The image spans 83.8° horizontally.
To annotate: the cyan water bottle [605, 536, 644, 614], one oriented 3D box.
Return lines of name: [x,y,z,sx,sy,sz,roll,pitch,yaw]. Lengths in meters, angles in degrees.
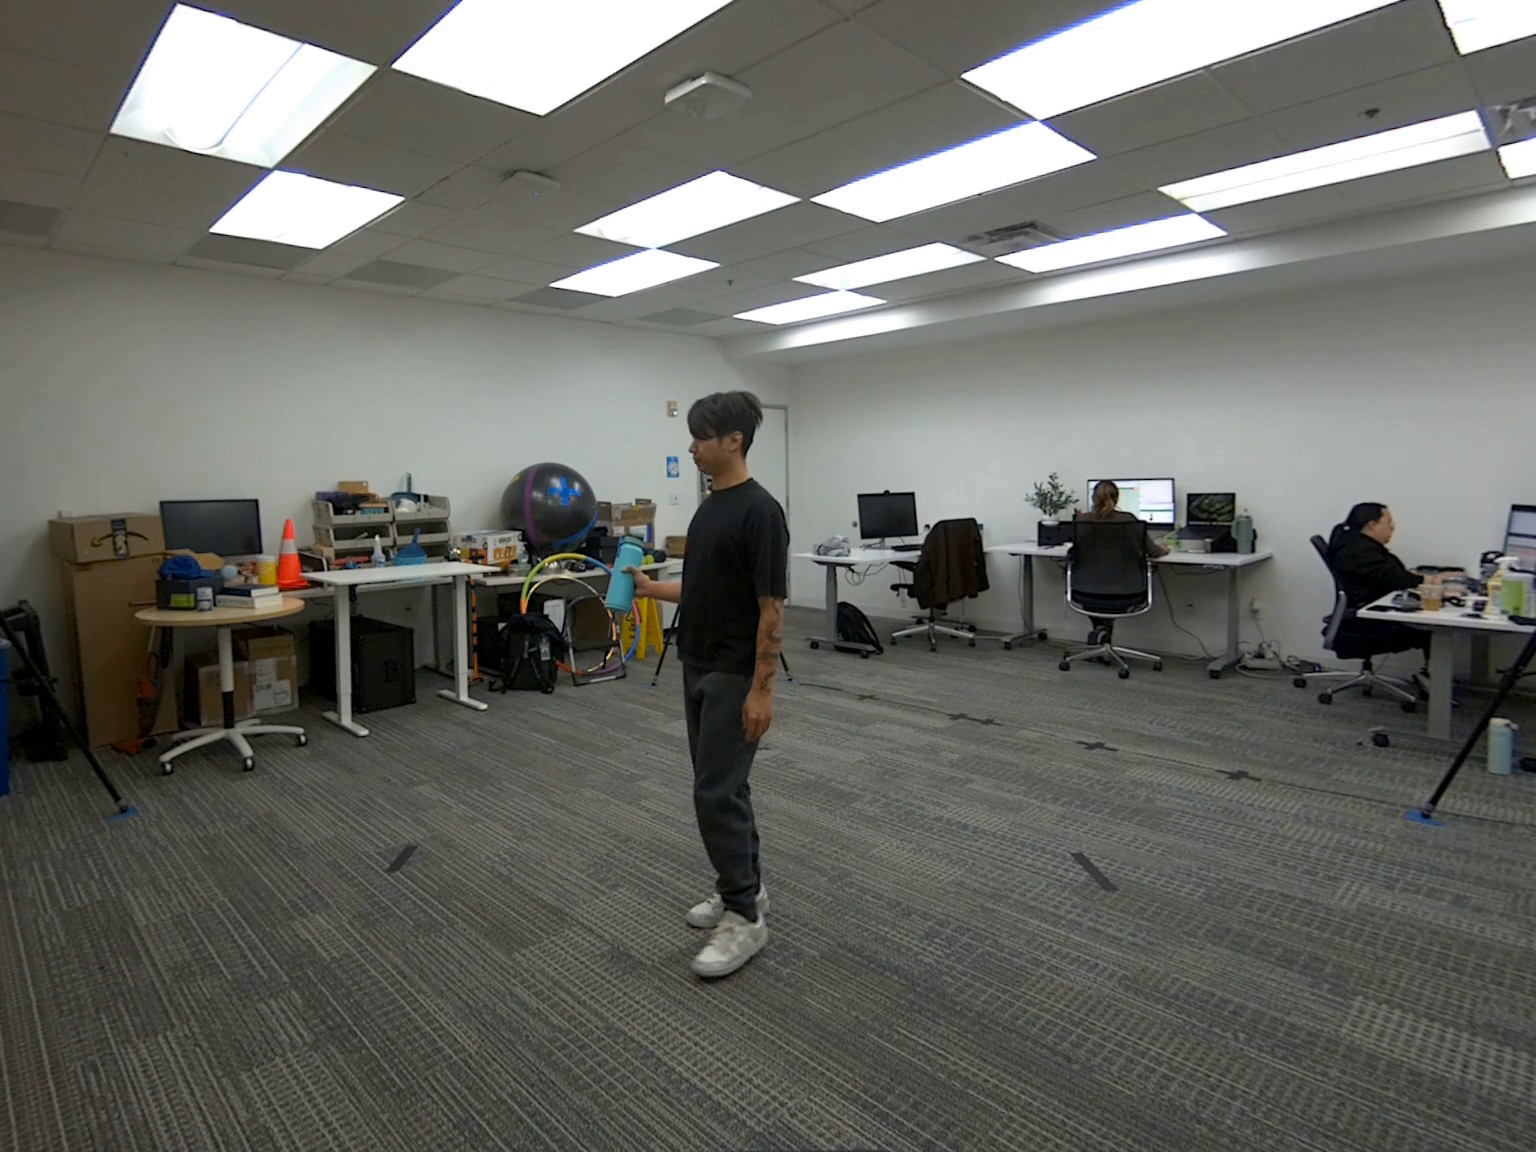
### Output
cyan water bottle: [-0.491,-0.015,2.950,0.092,0.287,0.091,8,-16,1]
